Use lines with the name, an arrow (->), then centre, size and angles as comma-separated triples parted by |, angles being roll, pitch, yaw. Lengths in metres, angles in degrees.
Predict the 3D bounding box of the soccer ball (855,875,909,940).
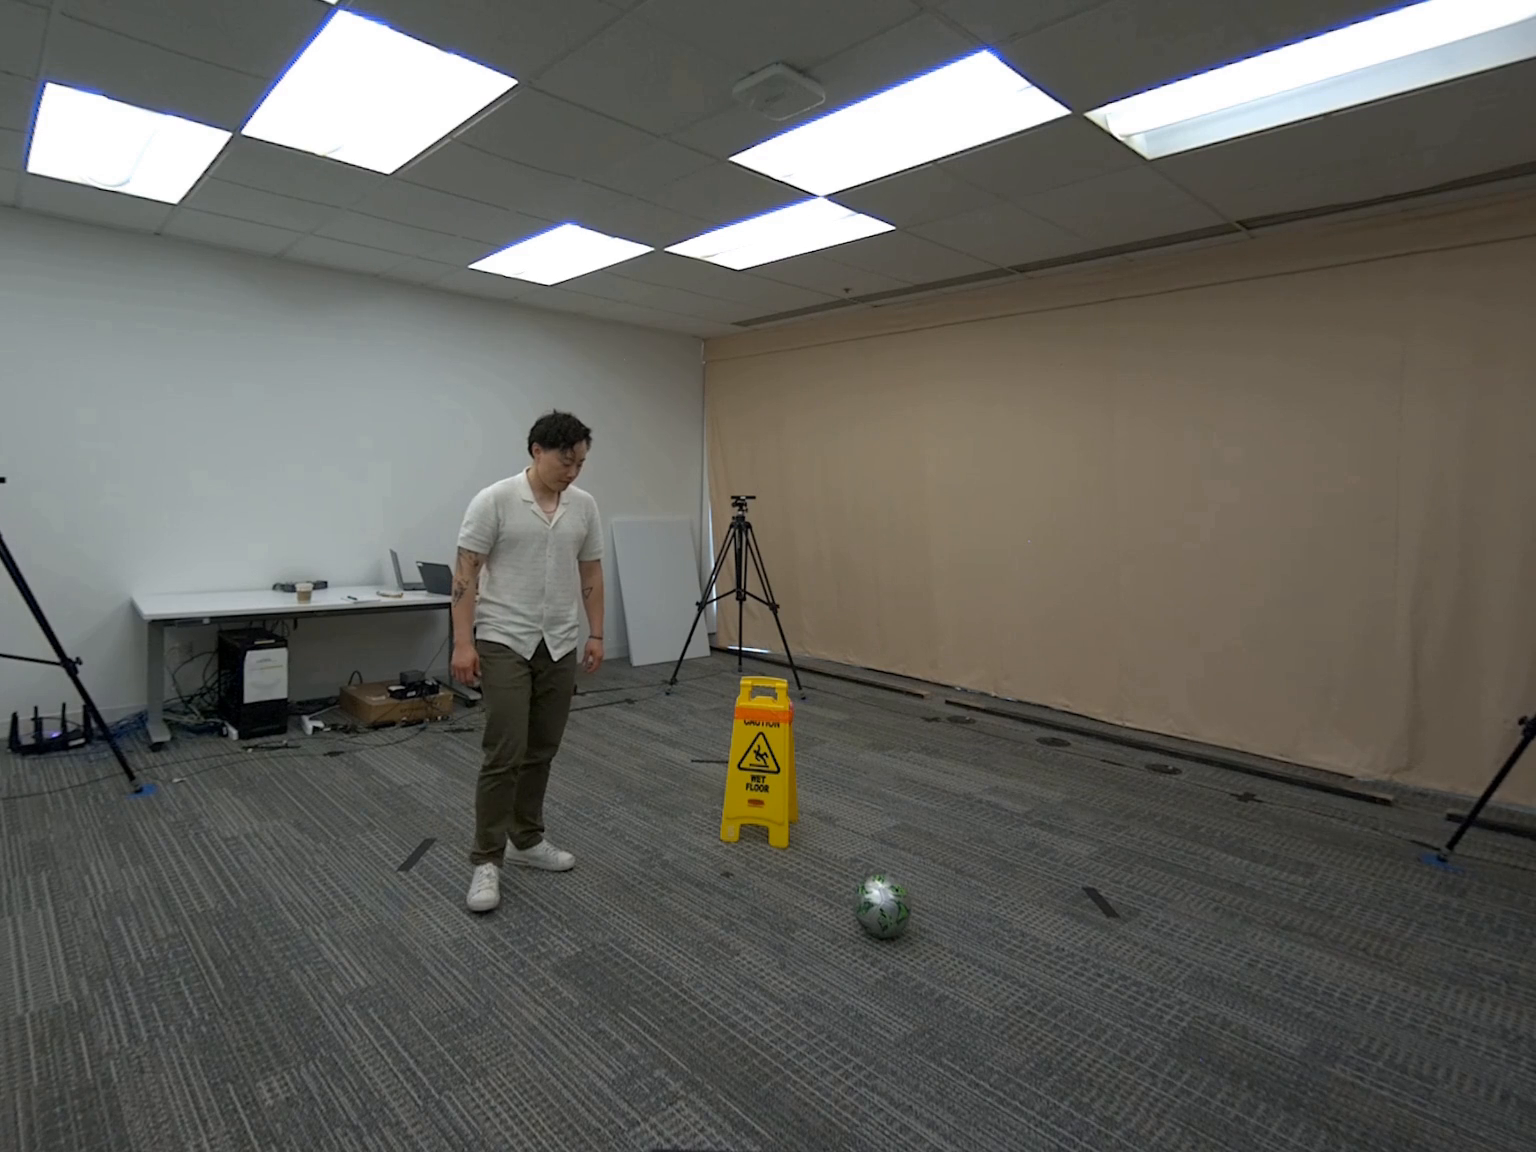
soccer ball -> 0.354, 1.055, 2.698 | 0.187, 0.187, 0.188 | 1, 4, -1
